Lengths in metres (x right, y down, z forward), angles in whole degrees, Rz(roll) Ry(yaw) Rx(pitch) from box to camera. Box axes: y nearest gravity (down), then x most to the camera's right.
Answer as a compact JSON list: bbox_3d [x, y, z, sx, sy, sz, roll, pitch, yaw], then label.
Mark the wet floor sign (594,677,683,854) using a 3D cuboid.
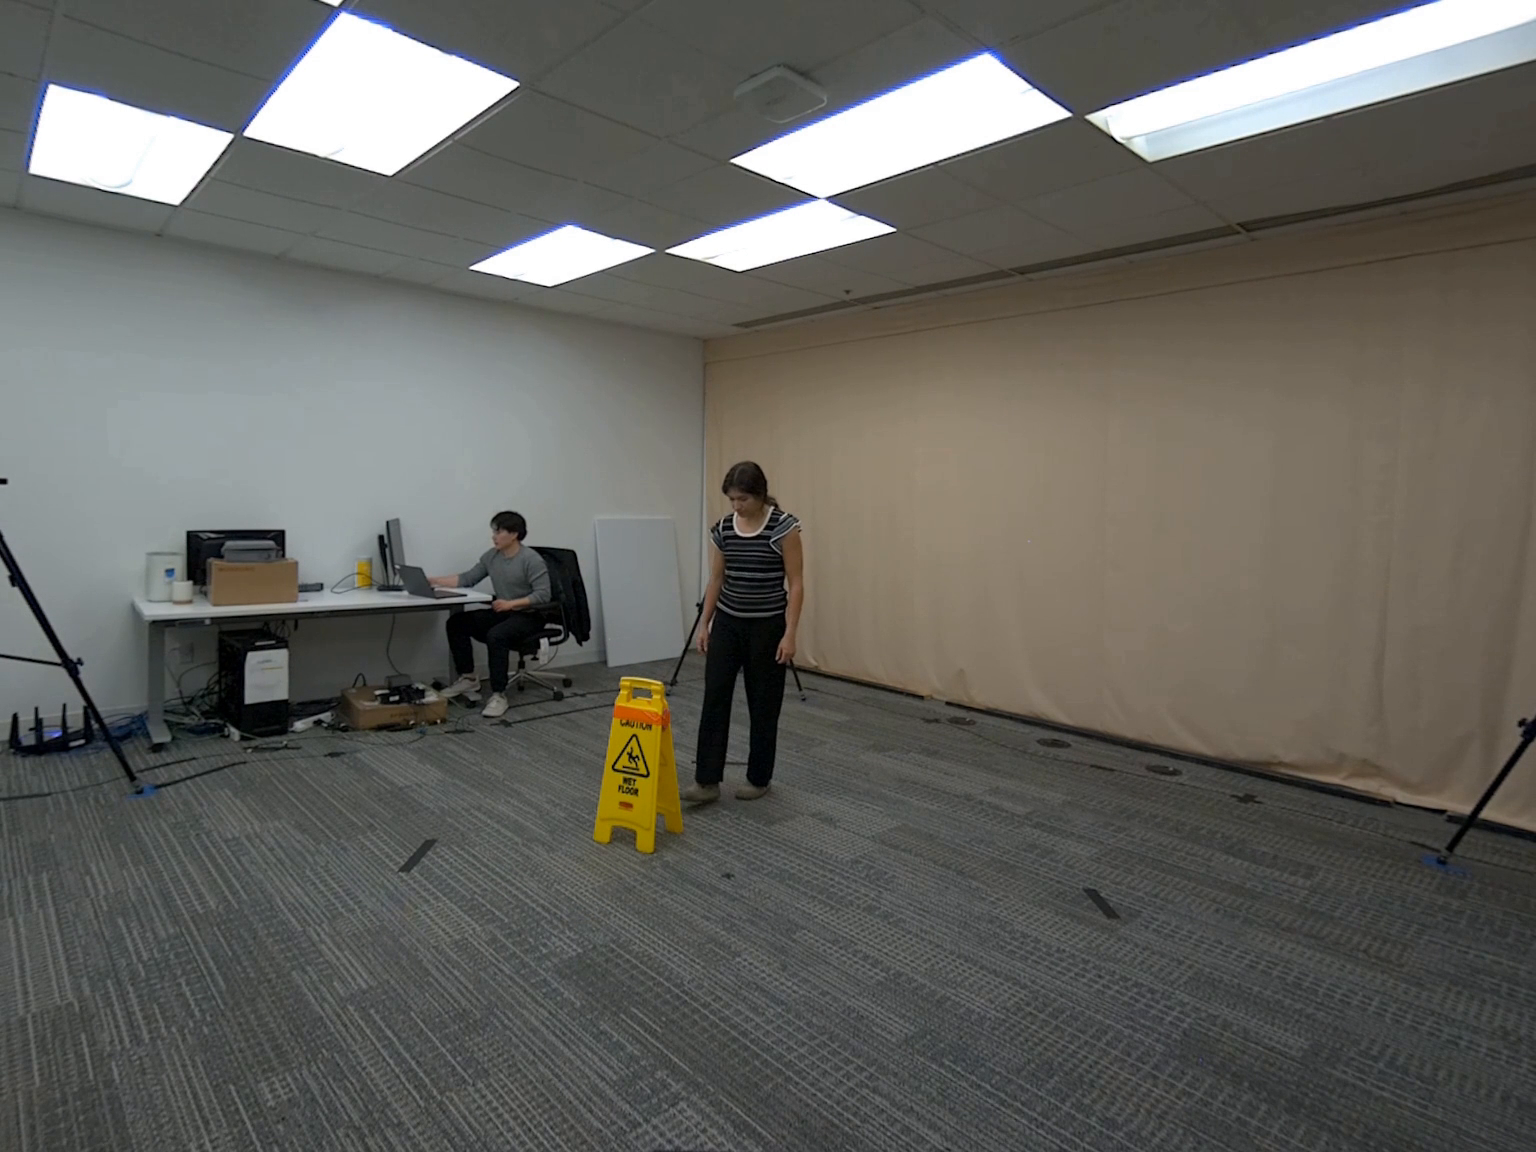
[{"bbox_3d":[-0.530,0.745,3.440,0.288,0.645,0.285,4,3,24],"label":"wet floor sign"}]
